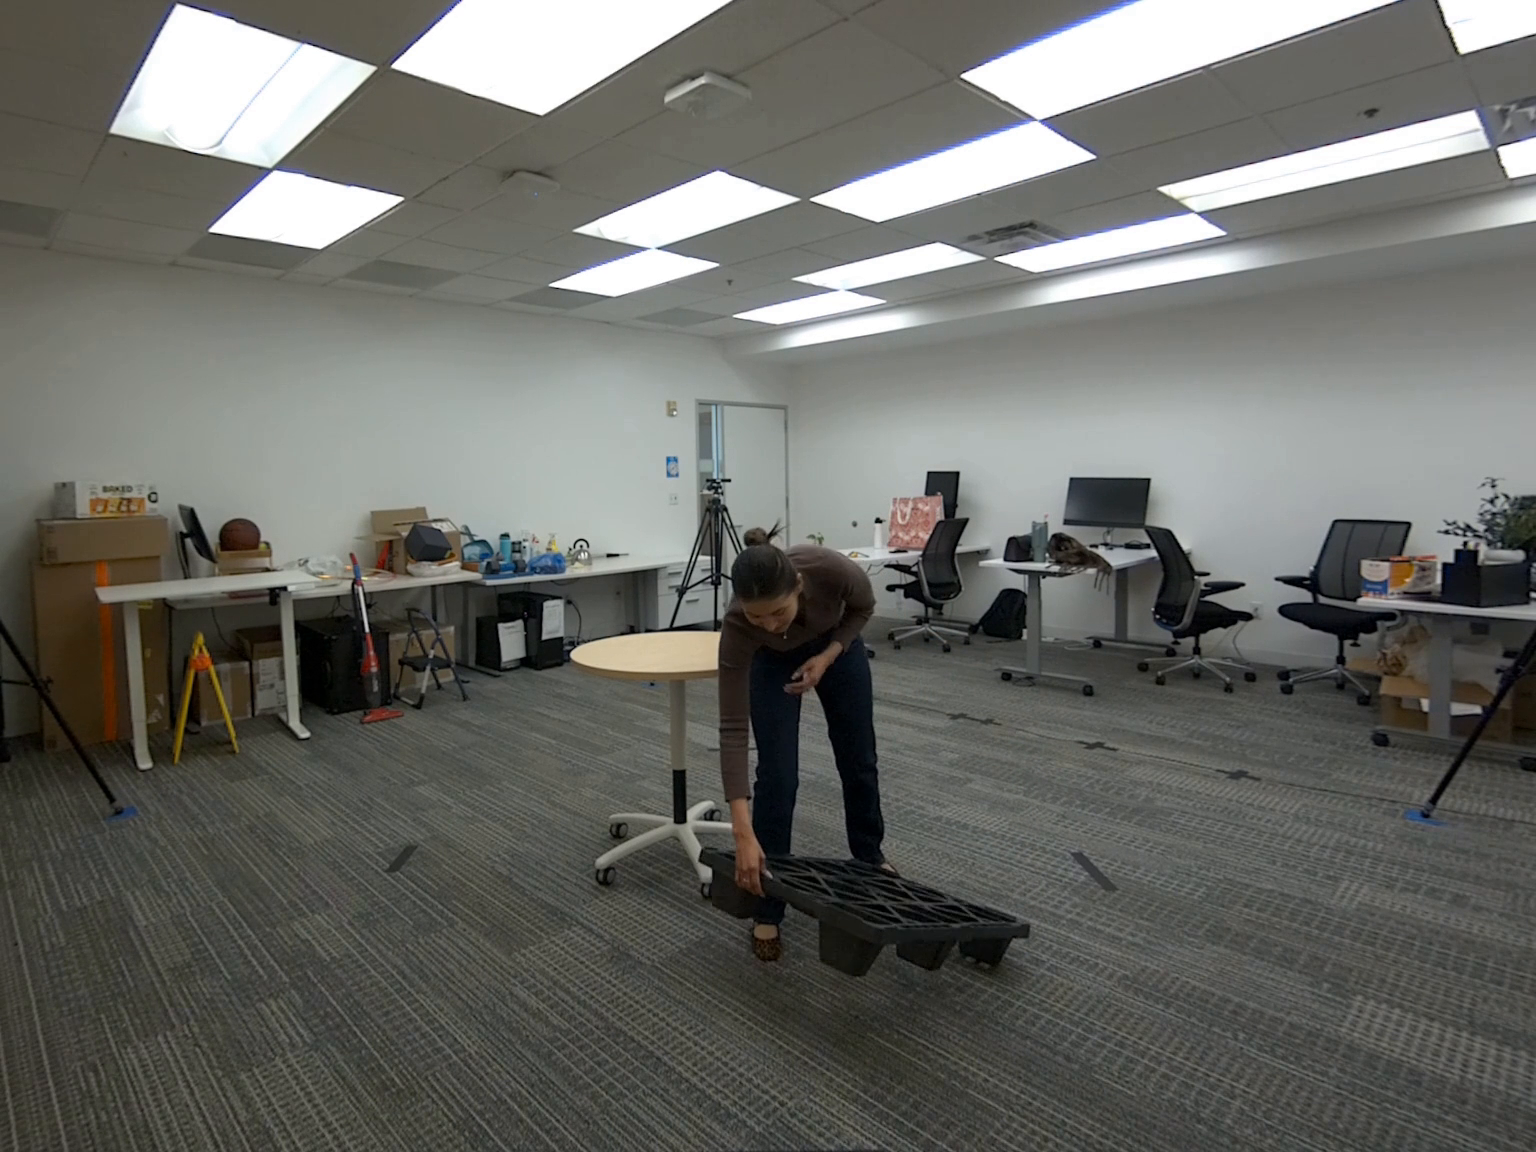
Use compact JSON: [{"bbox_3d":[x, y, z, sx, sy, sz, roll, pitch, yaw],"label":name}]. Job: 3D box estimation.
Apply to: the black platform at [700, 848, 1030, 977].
[{"bbox_3d":[0.271,0.932,2.366,0.624,0.144,0.776,5,-13,44],"label":"black platform"}]
